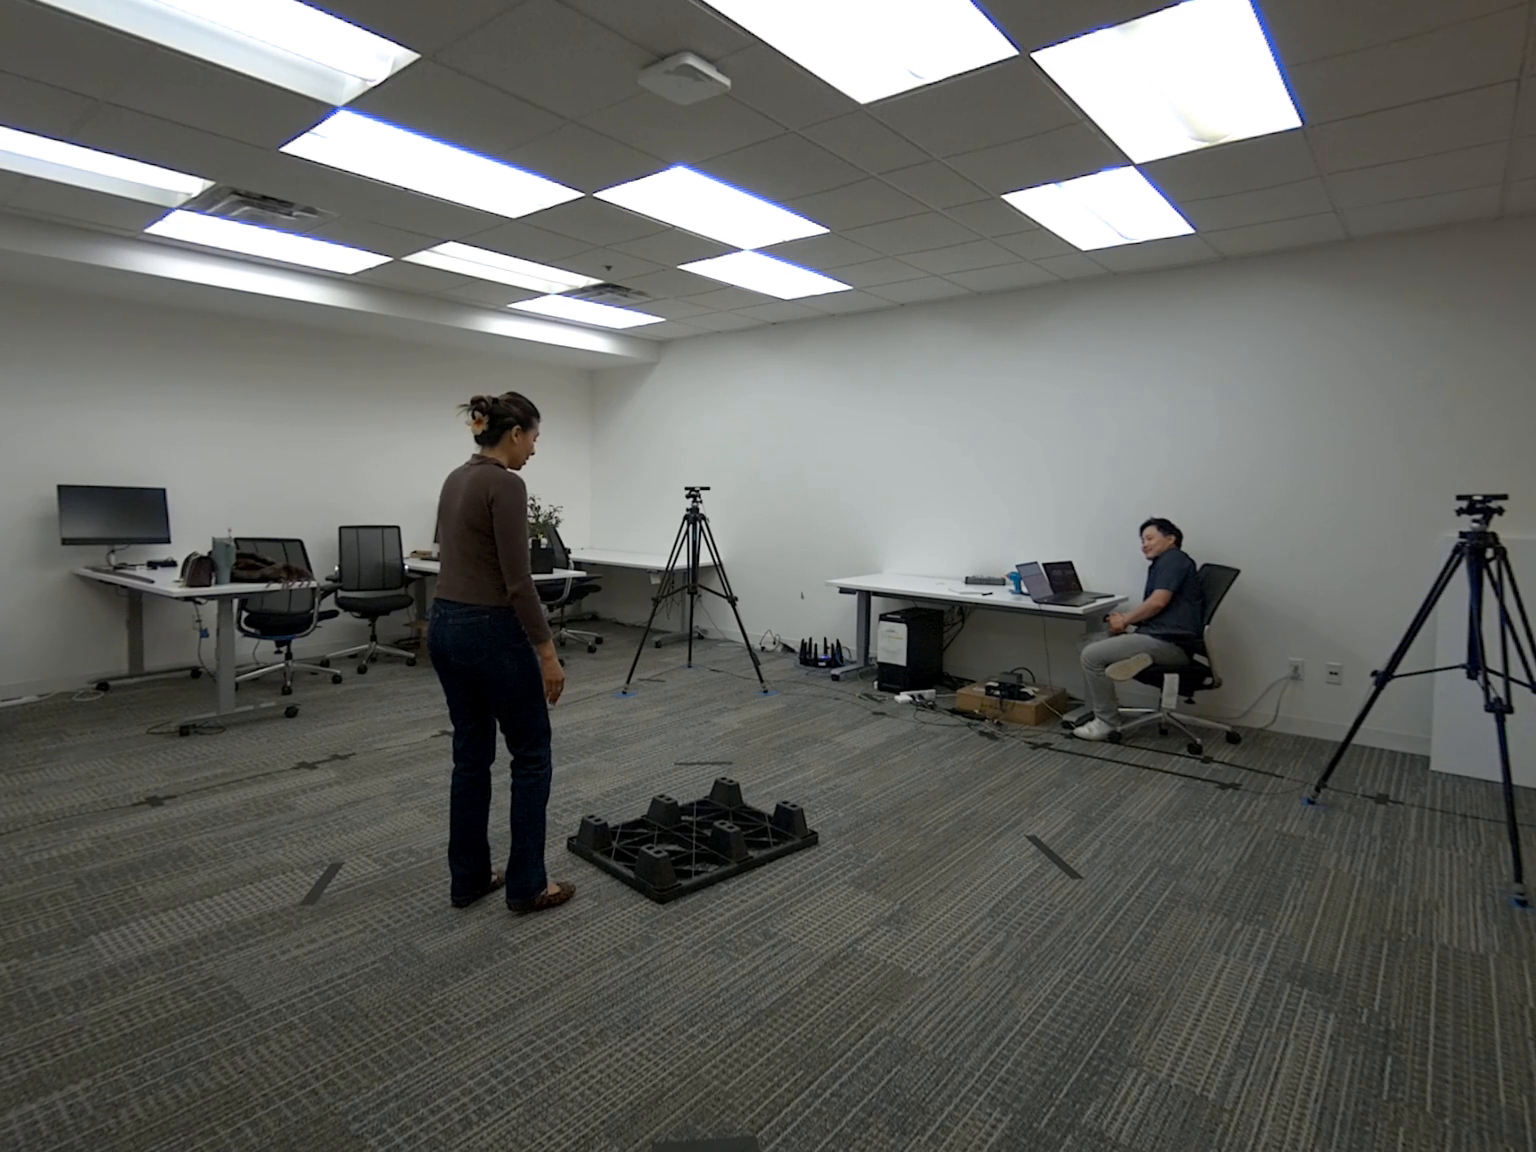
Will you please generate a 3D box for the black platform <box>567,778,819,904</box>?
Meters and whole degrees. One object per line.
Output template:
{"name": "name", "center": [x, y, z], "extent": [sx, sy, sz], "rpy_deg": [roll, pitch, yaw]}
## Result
{"name": "black platform", "center": [-0.295, 0.978, 3.294], "extent": [0.782, 0.143, 0.626], "rpy_deg": [-5, 8, -44]}
